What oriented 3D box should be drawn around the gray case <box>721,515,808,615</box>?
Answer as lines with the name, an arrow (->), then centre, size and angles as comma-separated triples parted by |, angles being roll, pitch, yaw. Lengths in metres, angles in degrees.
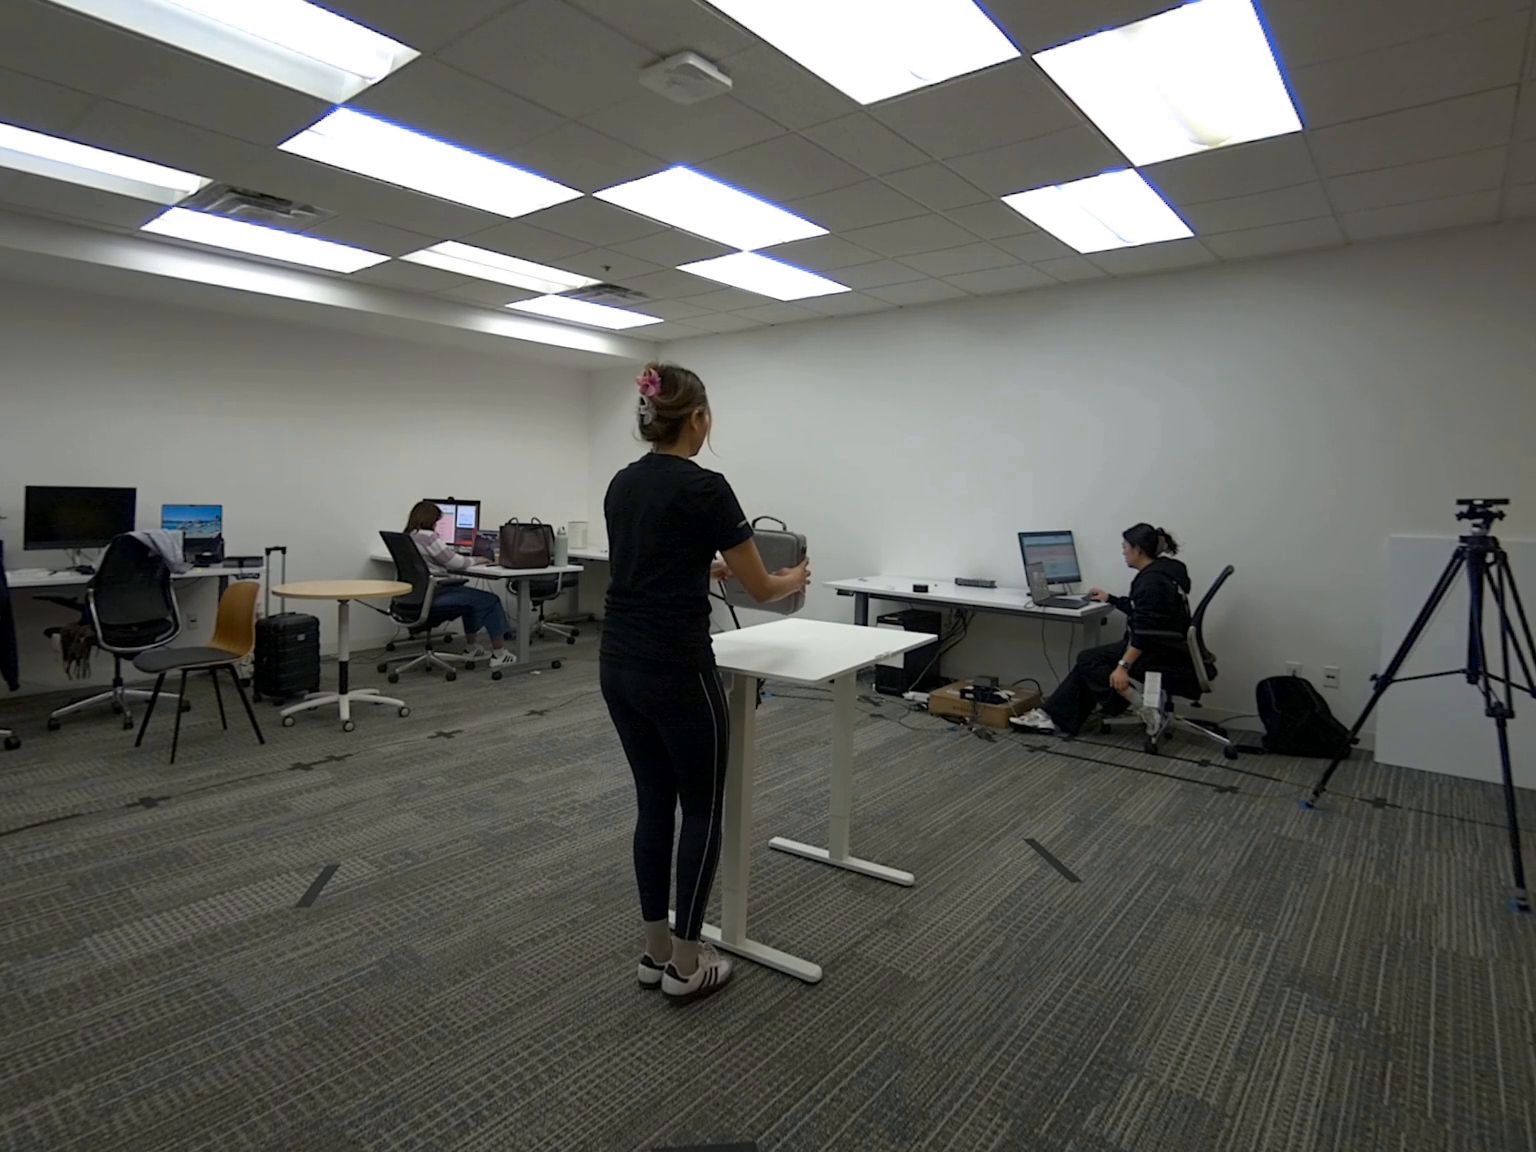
gray case -> -0.020, -0.027, 2.702 | 0.265, 0.258, 0.102 | 8, 10, 32
